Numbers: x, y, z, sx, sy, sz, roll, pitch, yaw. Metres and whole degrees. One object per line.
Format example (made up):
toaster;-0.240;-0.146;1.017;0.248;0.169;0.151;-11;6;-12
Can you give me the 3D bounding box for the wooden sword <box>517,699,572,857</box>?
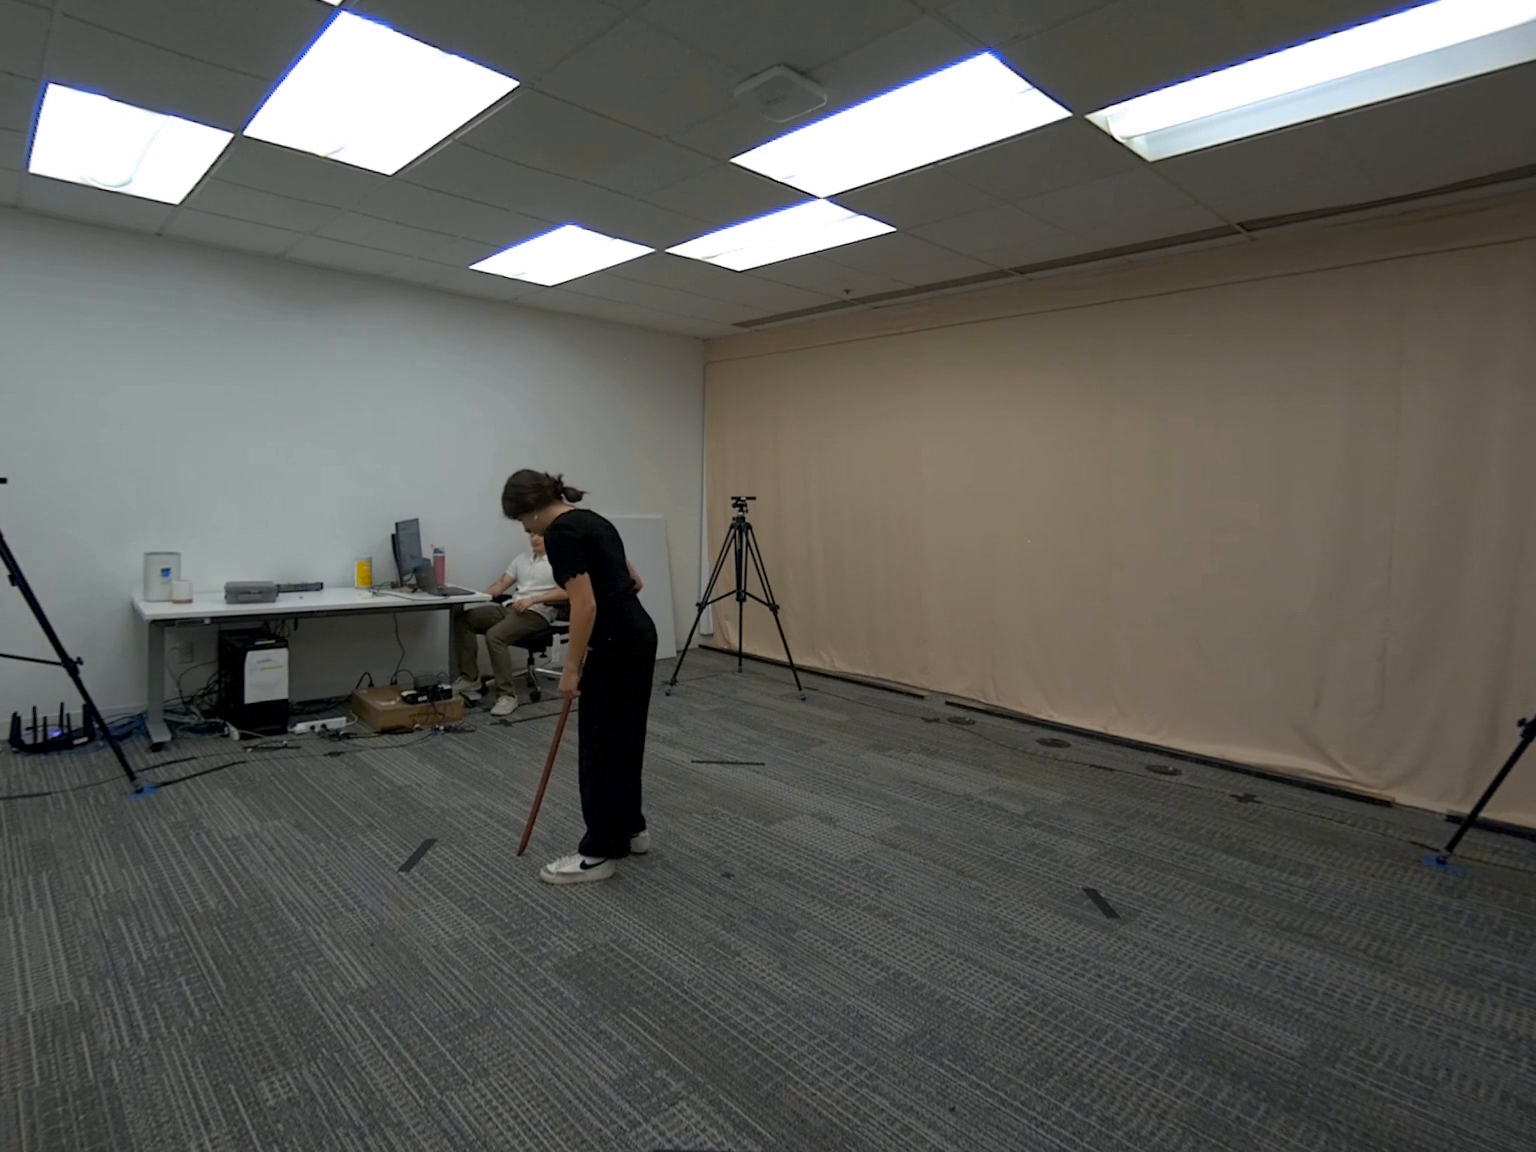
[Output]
wooden sword;-0.839;0.612;3.356;0.024;1.034;0.051;17;-19;-11
